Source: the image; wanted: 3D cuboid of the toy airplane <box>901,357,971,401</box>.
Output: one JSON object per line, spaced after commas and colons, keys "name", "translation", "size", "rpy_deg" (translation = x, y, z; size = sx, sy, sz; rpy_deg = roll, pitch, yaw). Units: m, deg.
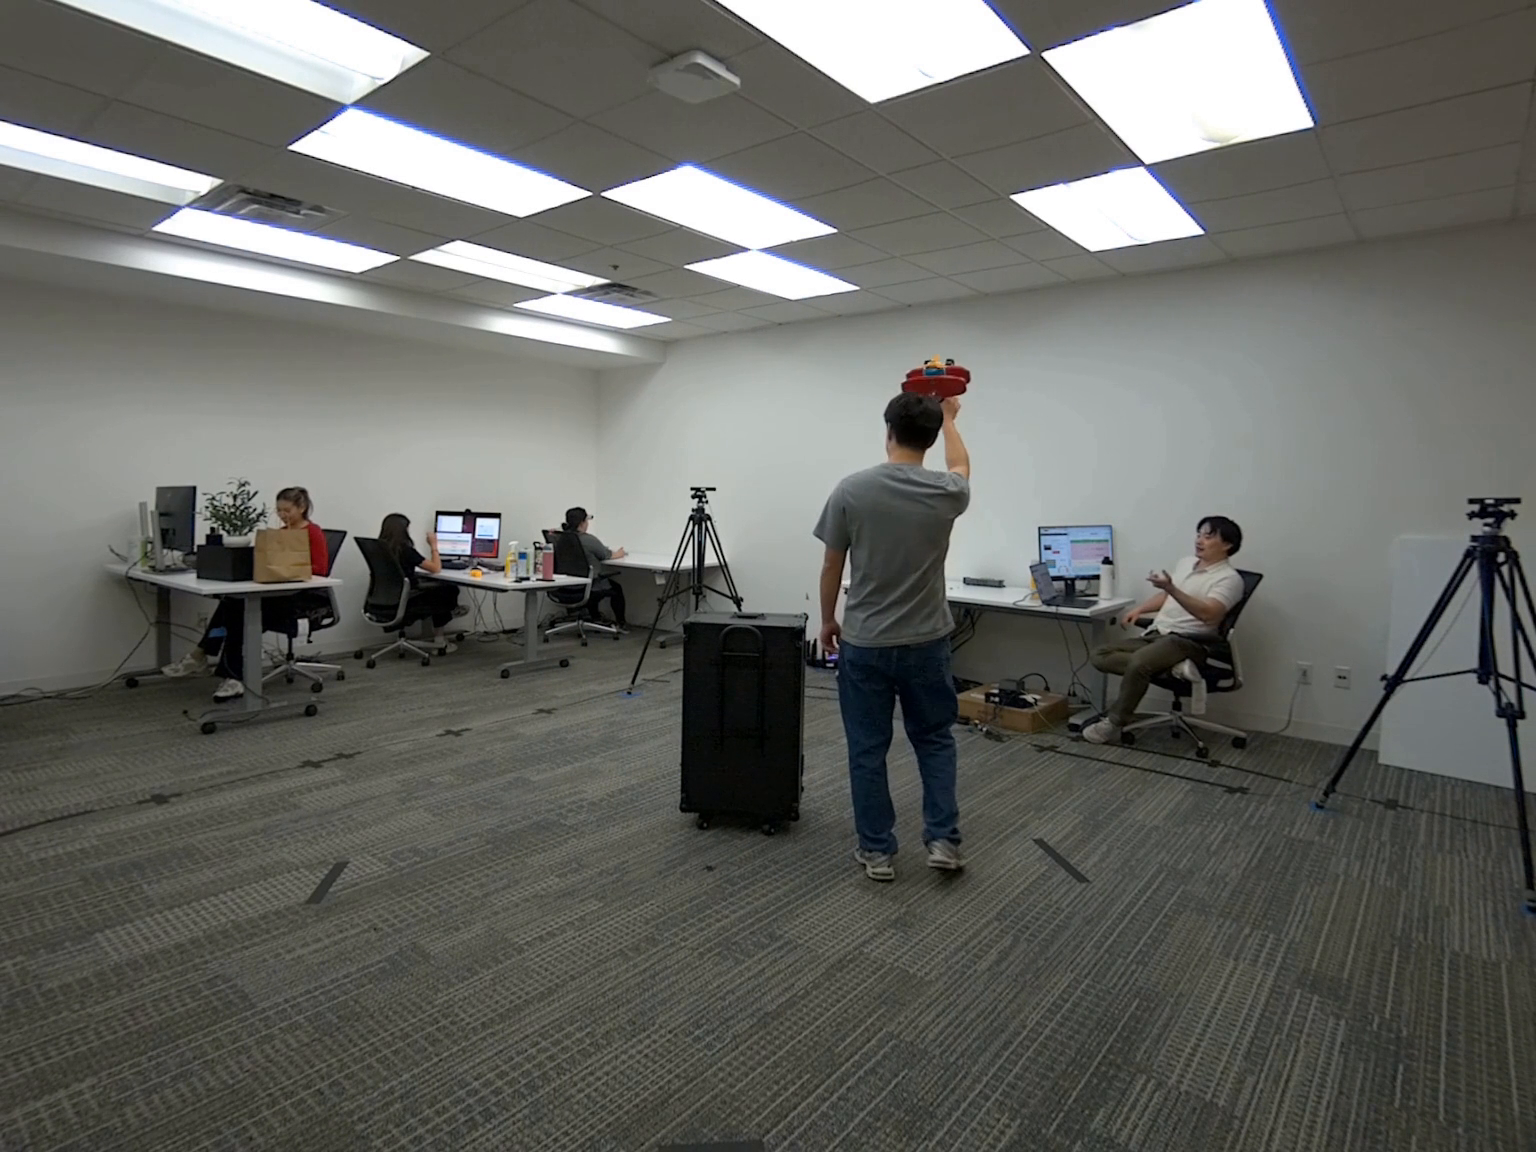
{"name": "toy airplane", "translation": [0.686, -0.759, 3.395], "size": [0.254, 0.257, 0.156], "rpy_deg": [-28, 9, 37]}
